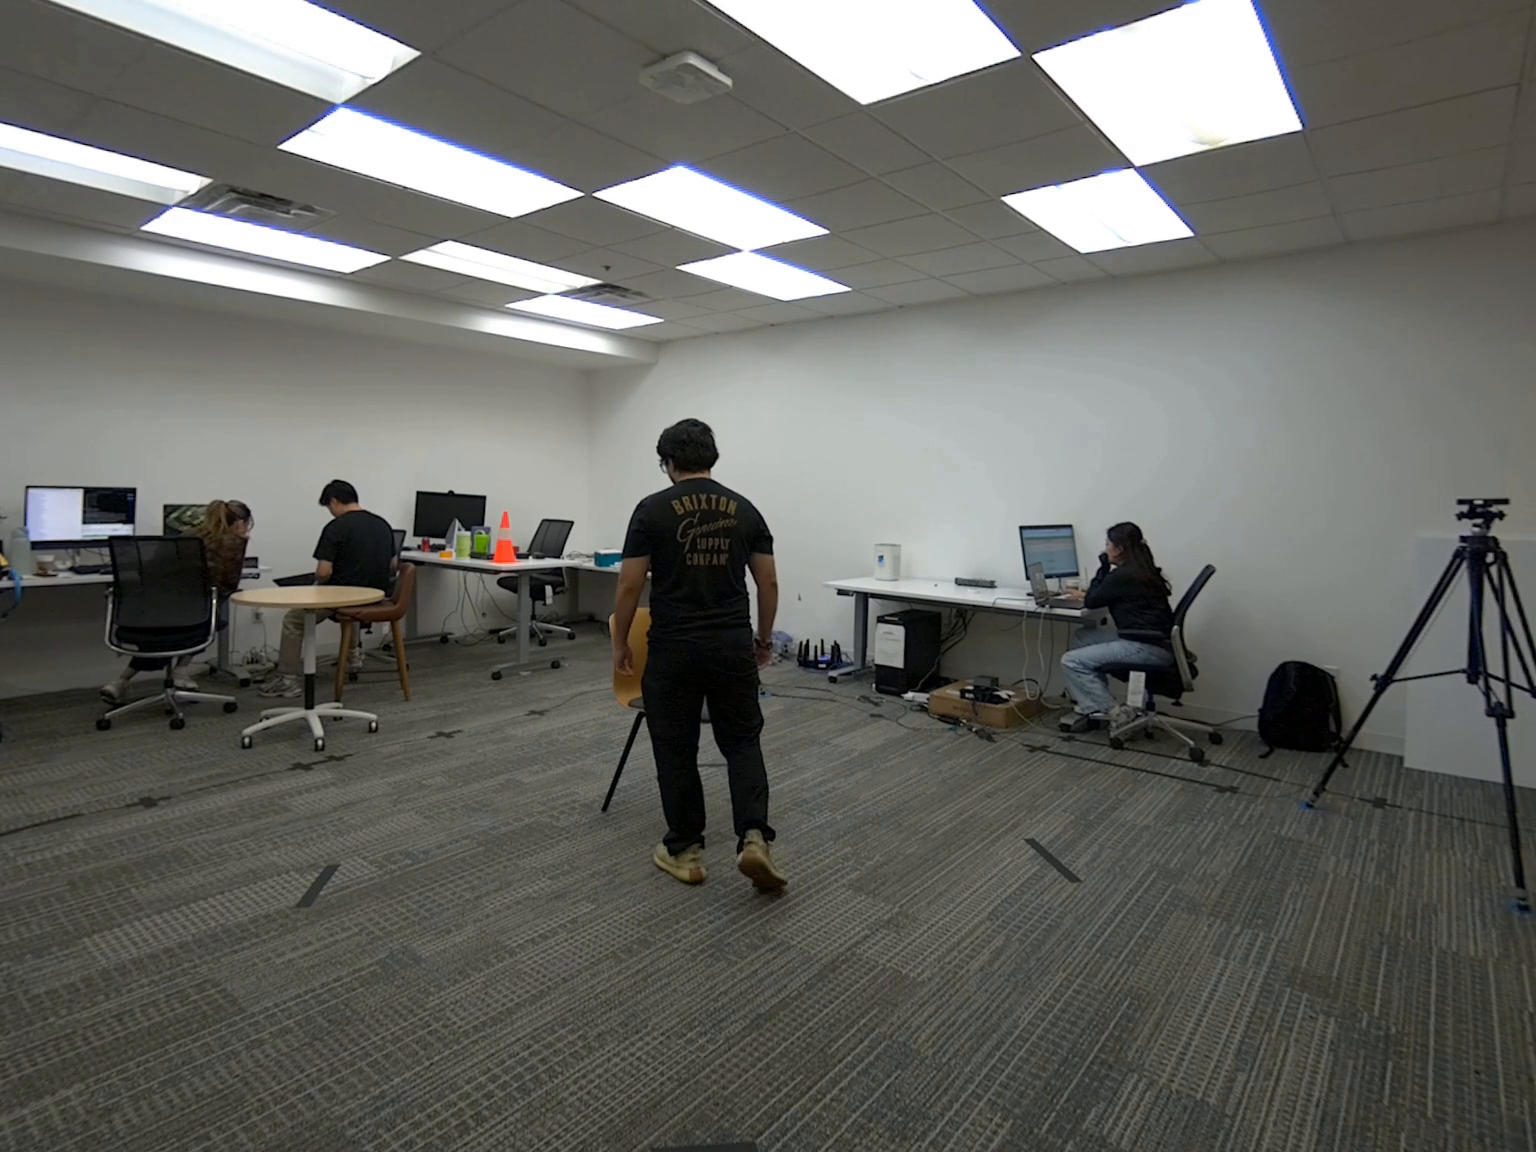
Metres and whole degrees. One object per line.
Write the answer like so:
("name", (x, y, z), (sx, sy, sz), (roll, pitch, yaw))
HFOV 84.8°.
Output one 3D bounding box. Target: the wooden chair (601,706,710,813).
("wooden chair", (-0.398, 0.578, 3.683), (0.538, 0.877, 0.465), (-2, 1, 32))
